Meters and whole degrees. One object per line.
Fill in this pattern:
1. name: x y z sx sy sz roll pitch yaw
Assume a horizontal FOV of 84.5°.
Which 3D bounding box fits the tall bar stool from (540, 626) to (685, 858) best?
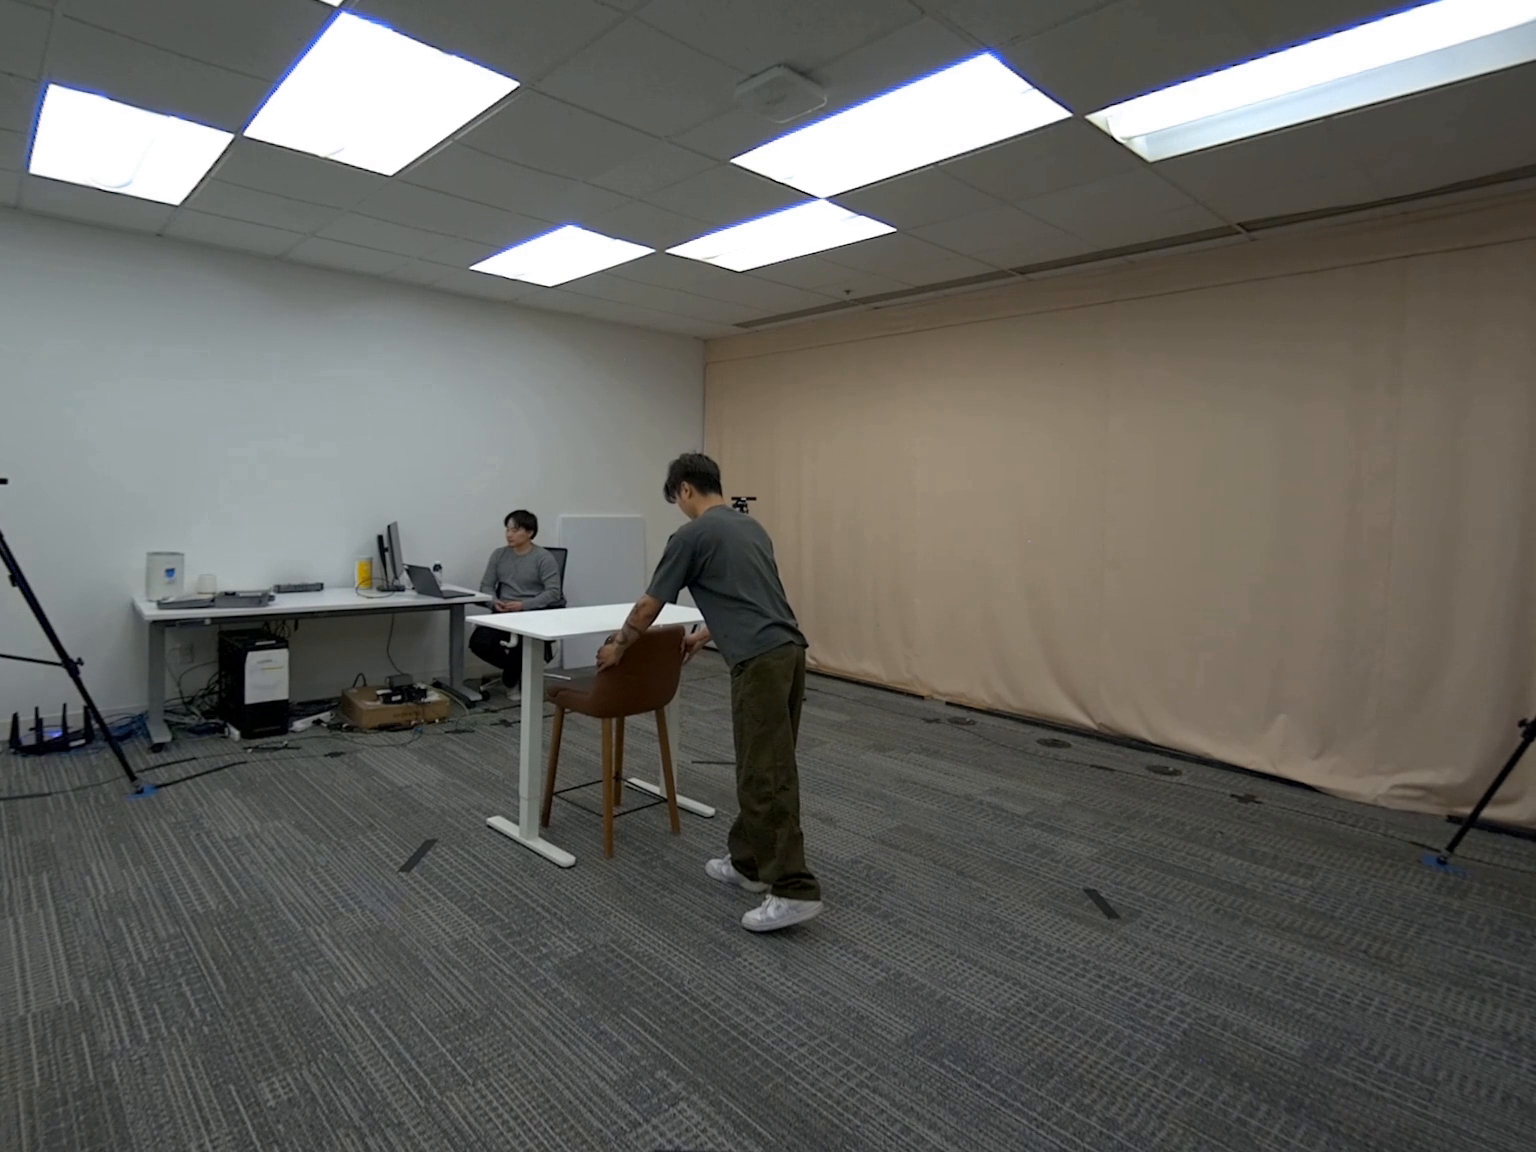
1. tall bar stool: -0.639 0.627 3.485 0.480 0.886 0.446 9 8 43
